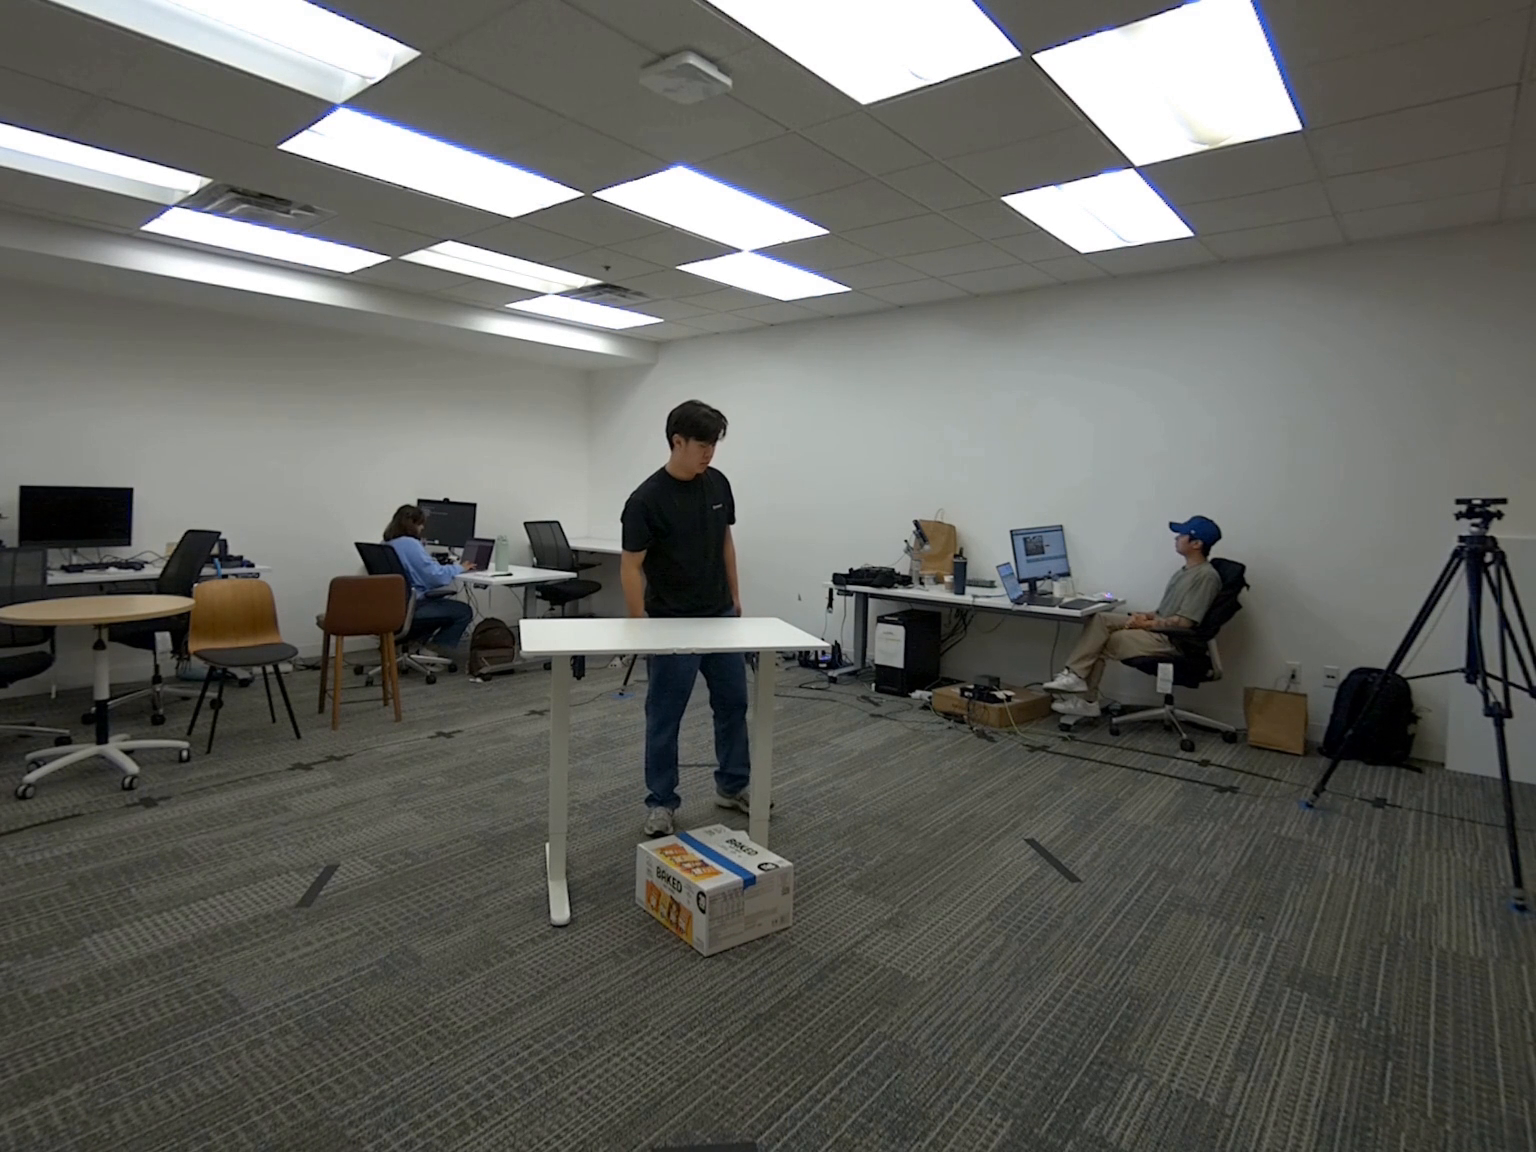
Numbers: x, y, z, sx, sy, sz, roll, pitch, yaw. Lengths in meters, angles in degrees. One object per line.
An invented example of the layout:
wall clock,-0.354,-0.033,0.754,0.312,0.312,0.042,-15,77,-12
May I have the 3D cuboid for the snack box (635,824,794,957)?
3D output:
snack box,-0.187,1.001,2.763,0.330,0.205,0.419,-2,6,-37
